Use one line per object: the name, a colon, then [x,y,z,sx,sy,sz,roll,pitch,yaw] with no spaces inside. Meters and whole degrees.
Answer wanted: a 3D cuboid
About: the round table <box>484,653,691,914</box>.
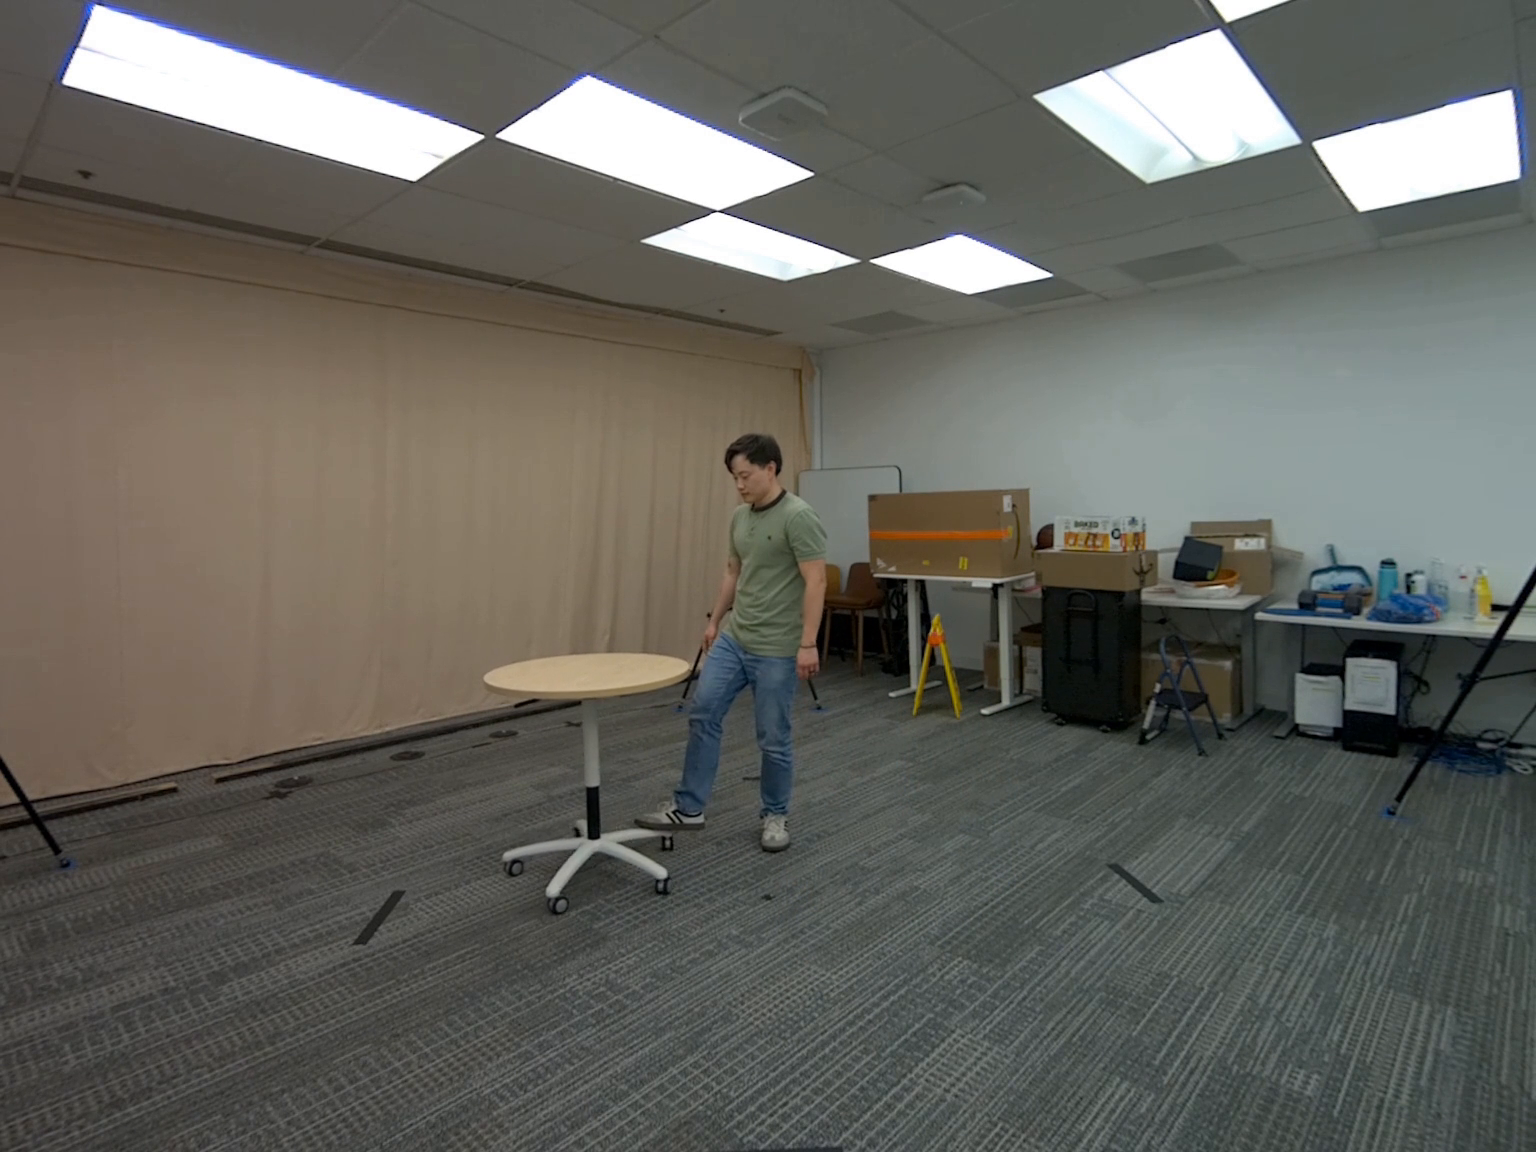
round table: [-0.659,0.749,3.191,0.763,0.792,0.766,-2,3,-2]
